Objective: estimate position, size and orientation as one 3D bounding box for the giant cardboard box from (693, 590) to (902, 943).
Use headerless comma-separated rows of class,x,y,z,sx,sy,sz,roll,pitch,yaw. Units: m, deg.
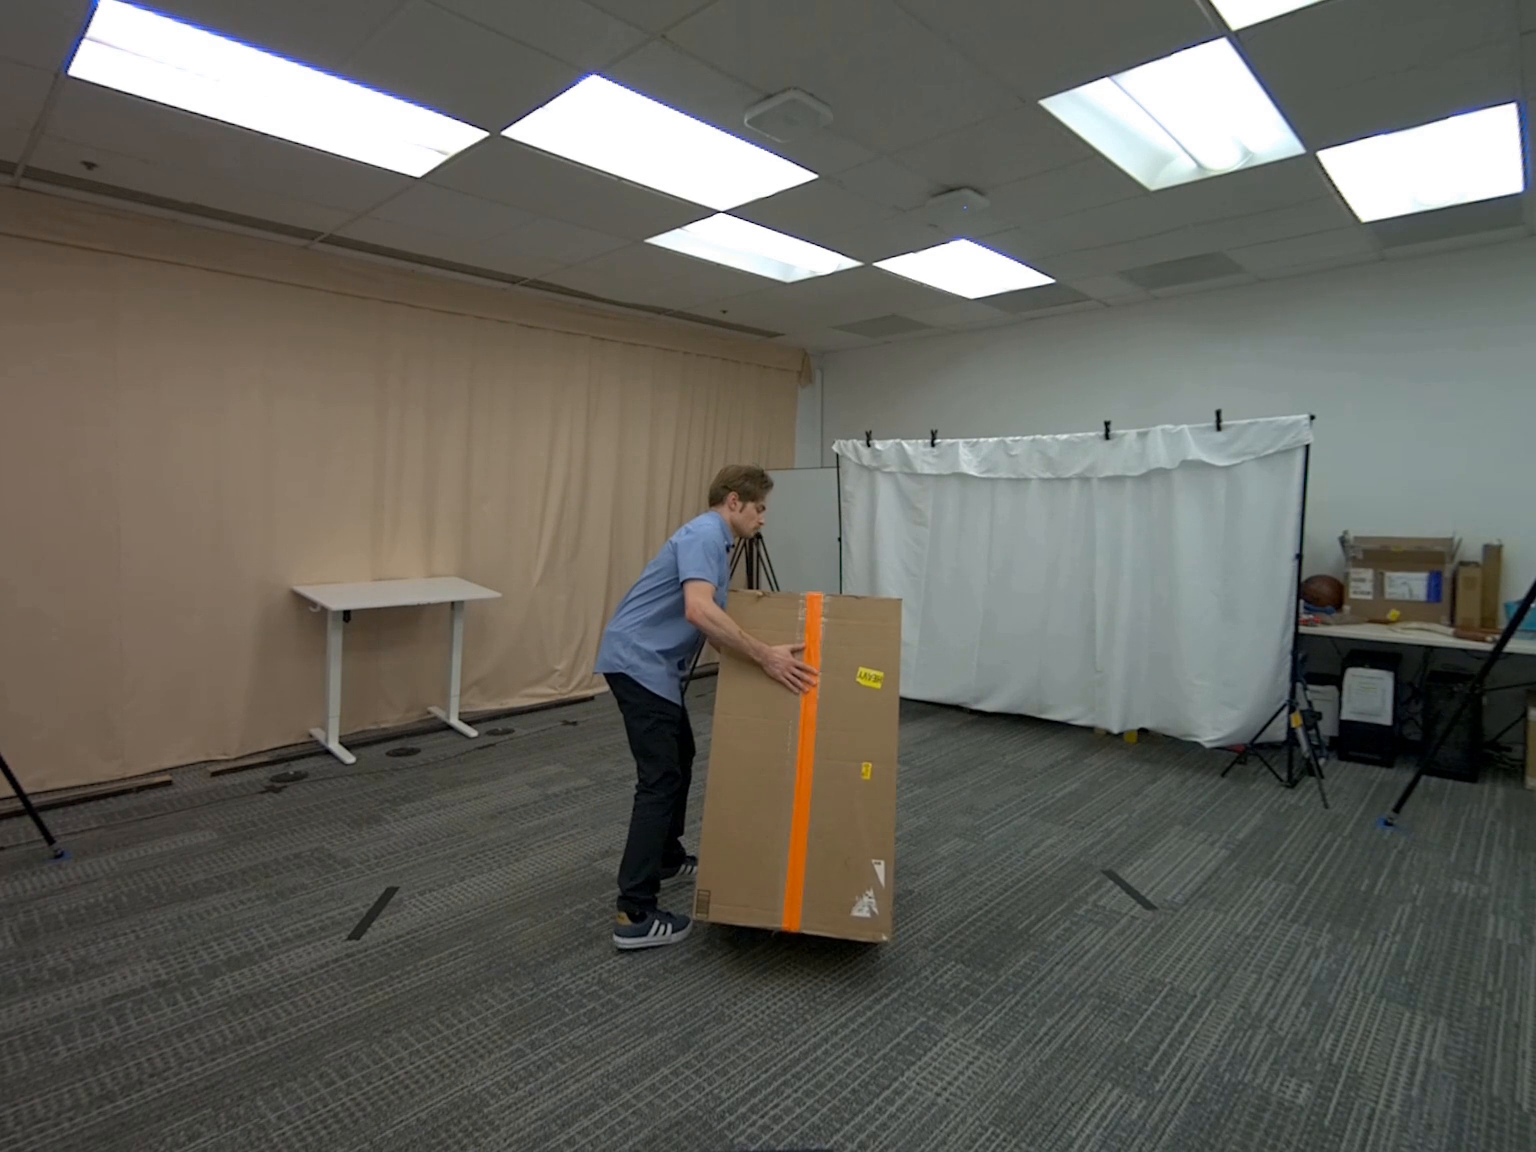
giant cardboard box,0.131,0.610,2.779,0.590,1.037,0.438,2,-19,9
